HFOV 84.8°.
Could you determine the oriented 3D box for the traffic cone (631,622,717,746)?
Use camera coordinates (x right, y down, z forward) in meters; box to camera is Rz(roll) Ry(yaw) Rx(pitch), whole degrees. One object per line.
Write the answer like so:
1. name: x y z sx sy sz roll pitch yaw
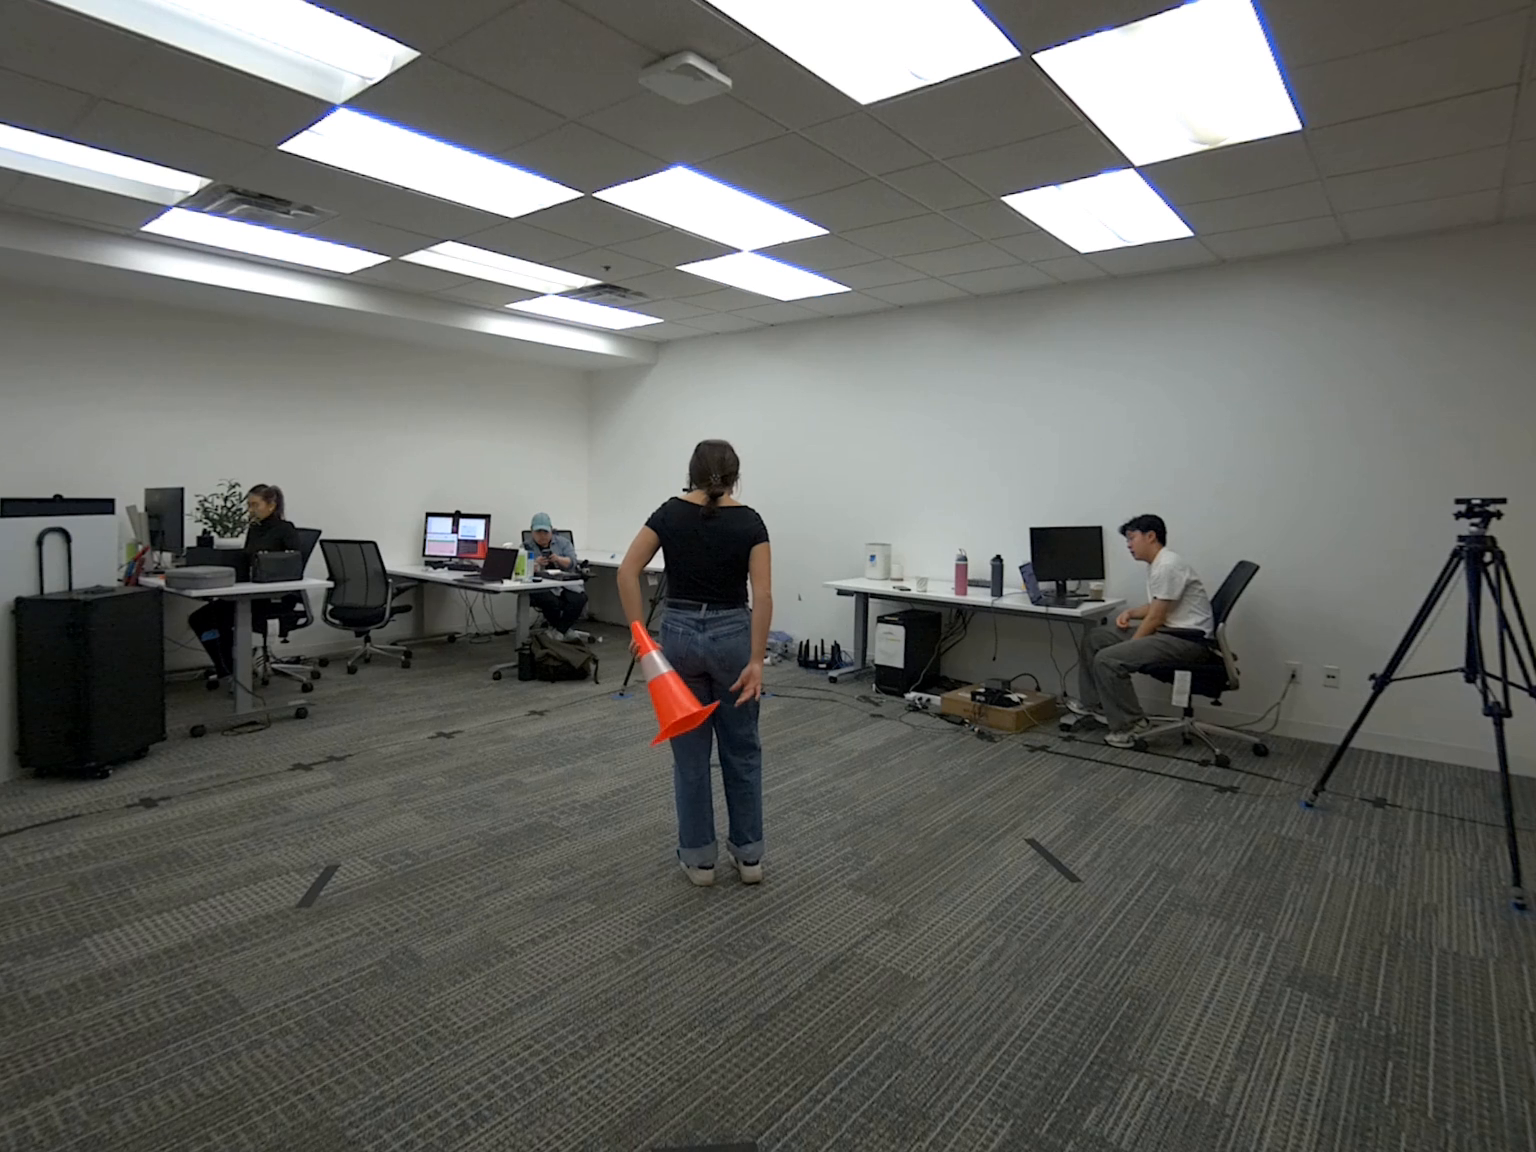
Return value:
1. traffic cone: -0.373 0.314 2.802 0.200 0.395 0.202 -14 -26 -35
